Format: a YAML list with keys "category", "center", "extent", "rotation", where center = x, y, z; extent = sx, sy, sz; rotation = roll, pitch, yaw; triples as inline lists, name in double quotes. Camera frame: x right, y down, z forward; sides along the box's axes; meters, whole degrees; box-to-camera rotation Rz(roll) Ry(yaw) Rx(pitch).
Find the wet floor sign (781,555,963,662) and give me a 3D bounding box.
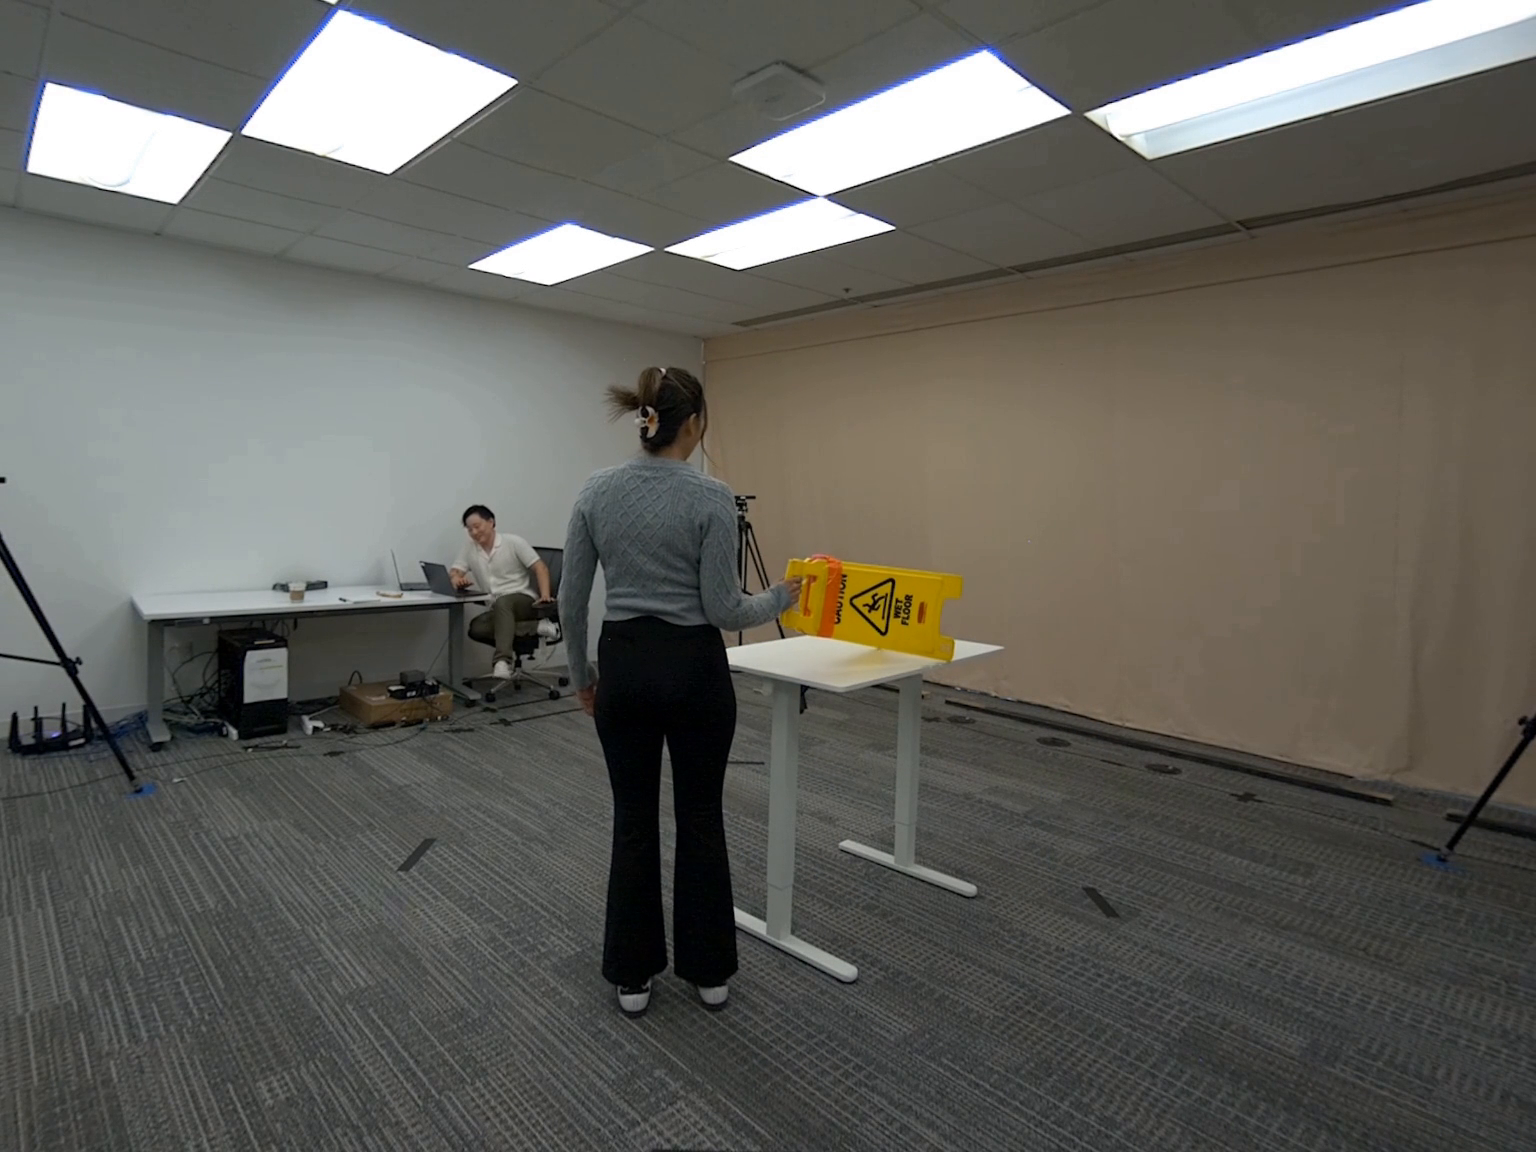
- category: "wet floor sign"
  center: [0.280, 0.088, 2.621]
  extent: [0.629, 0.283, 0.297]
  rotation: [10, -2, -42]
